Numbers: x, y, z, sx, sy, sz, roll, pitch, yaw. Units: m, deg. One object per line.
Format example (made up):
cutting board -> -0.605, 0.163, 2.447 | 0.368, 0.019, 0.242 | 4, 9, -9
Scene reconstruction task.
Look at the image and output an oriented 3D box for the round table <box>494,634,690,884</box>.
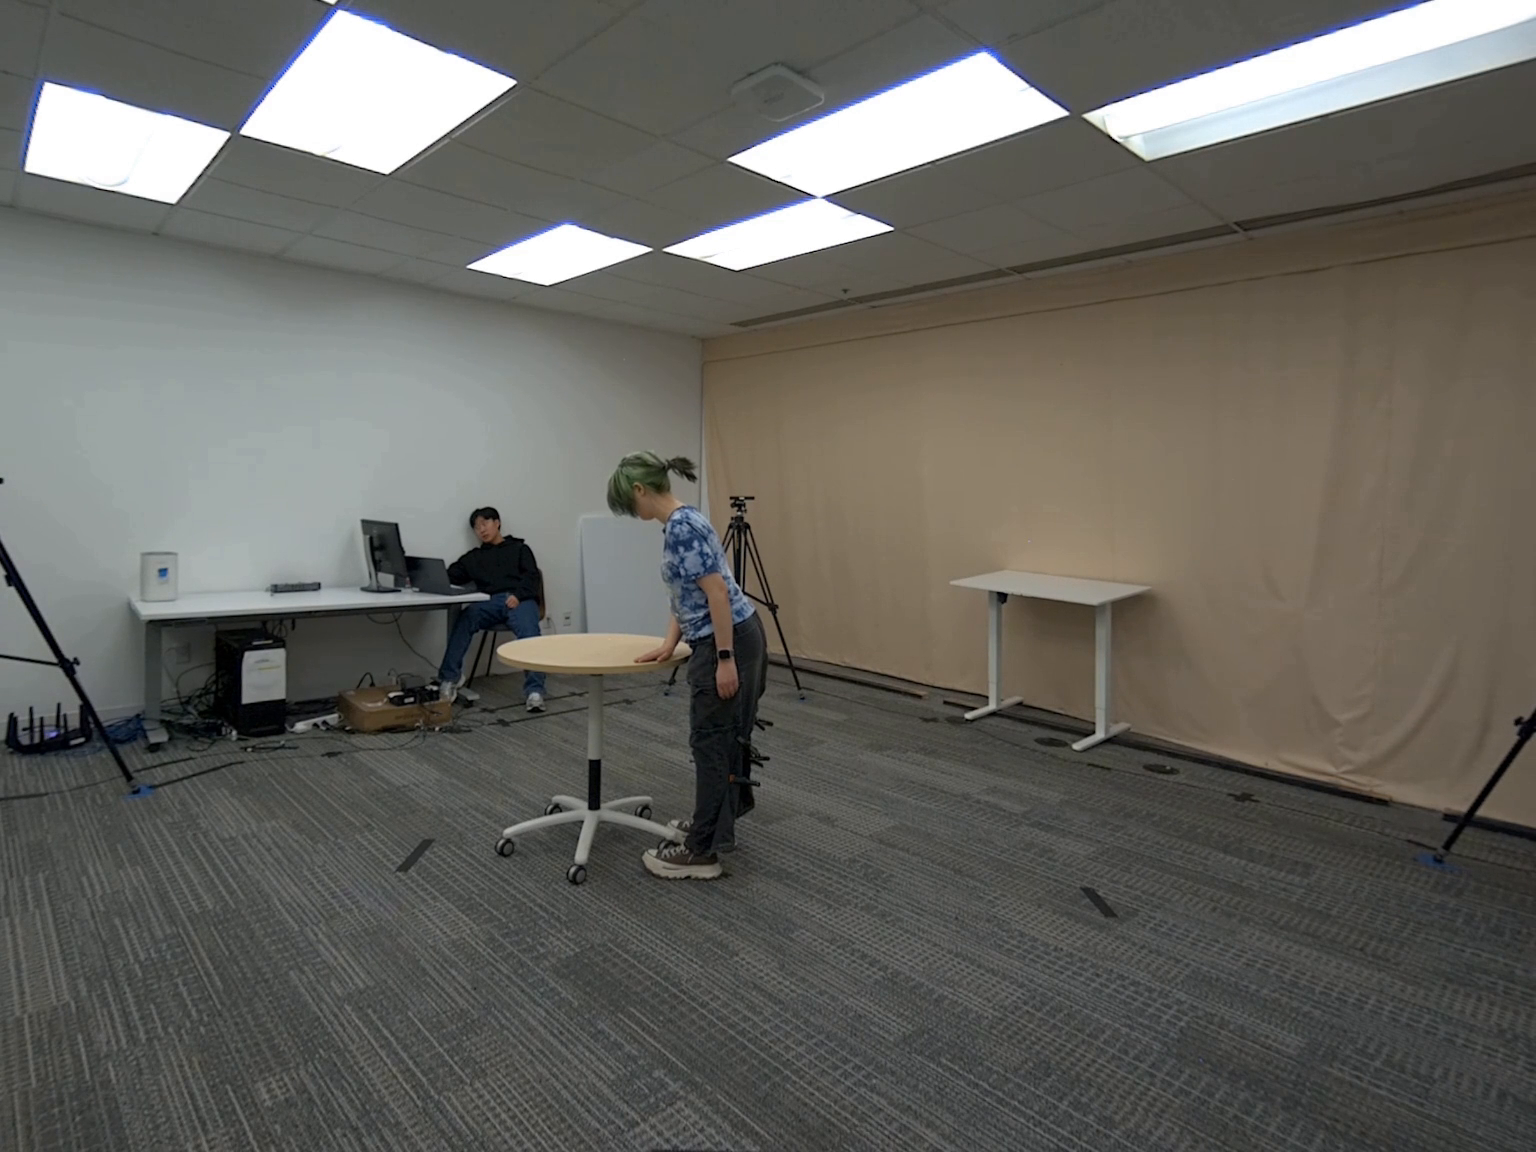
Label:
round table -> -0.682, 0.674, 3.350 | 0.784, 0.784, 0.788 | 1, 4, -1
